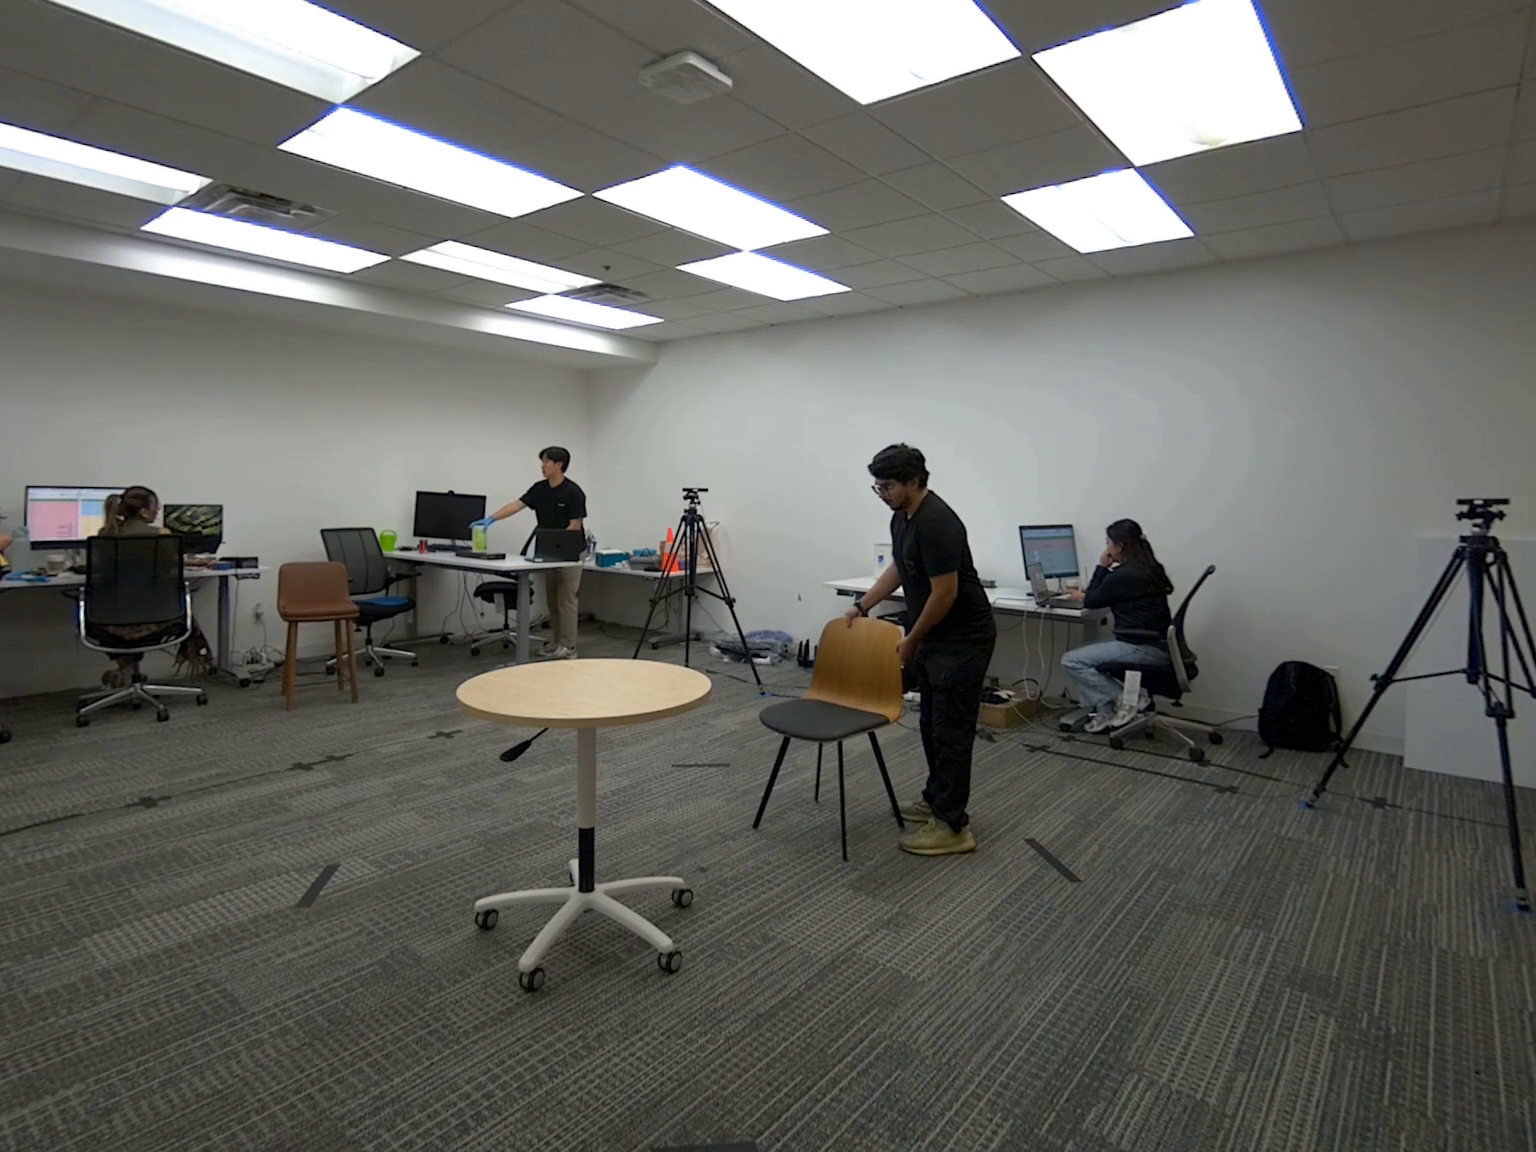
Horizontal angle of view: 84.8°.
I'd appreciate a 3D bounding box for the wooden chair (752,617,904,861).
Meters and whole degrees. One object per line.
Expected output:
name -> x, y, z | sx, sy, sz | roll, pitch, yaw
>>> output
wooden chair -> 0.248, 0.614, 3.489 | 0.494, 0.877, 0.506 | 5, 0, 39
